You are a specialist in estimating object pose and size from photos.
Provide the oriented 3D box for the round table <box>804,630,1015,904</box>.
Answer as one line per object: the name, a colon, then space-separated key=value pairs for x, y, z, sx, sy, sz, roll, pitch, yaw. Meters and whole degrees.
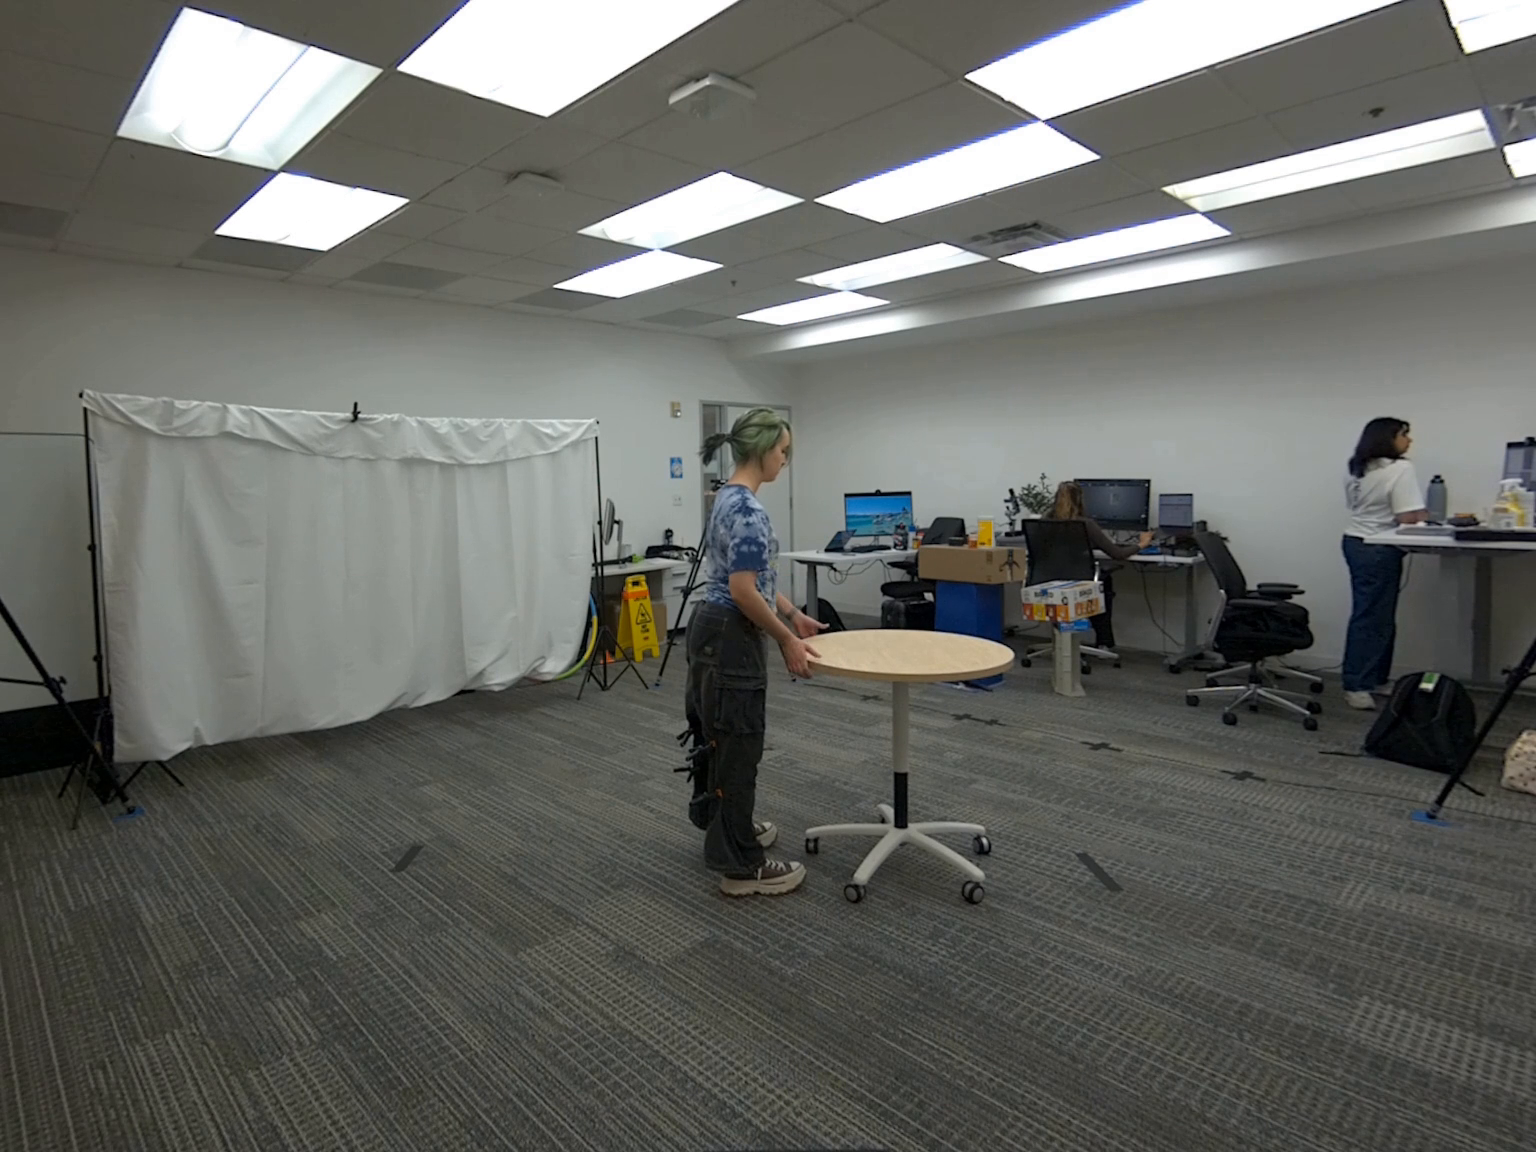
round table: x=0.478 y=0.650 z=3.060 sx=0.763 sy=0.791 sz=0.768 roll=-1 pitch=5 yaw=-2
